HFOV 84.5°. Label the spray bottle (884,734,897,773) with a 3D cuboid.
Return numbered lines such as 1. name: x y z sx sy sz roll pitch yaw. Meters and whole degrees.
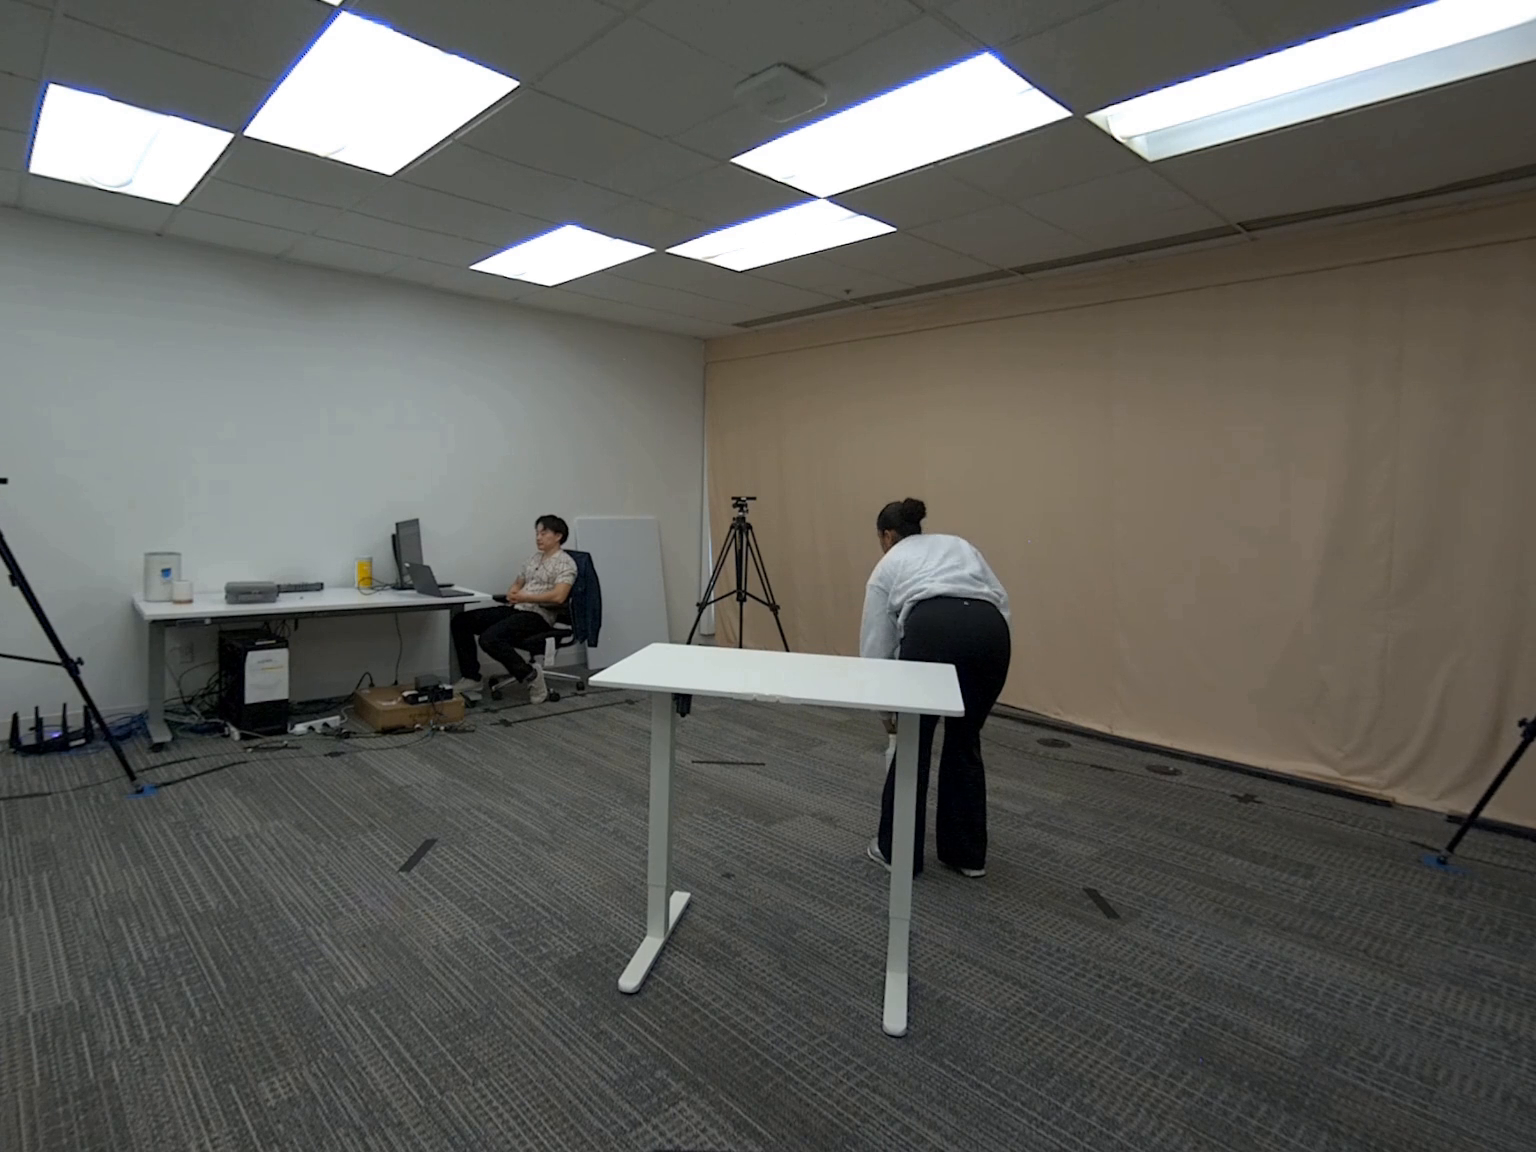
1. spray bottle: 0.515 0.735 3.432 0.088 0.298 0.088 -3 -3 21
